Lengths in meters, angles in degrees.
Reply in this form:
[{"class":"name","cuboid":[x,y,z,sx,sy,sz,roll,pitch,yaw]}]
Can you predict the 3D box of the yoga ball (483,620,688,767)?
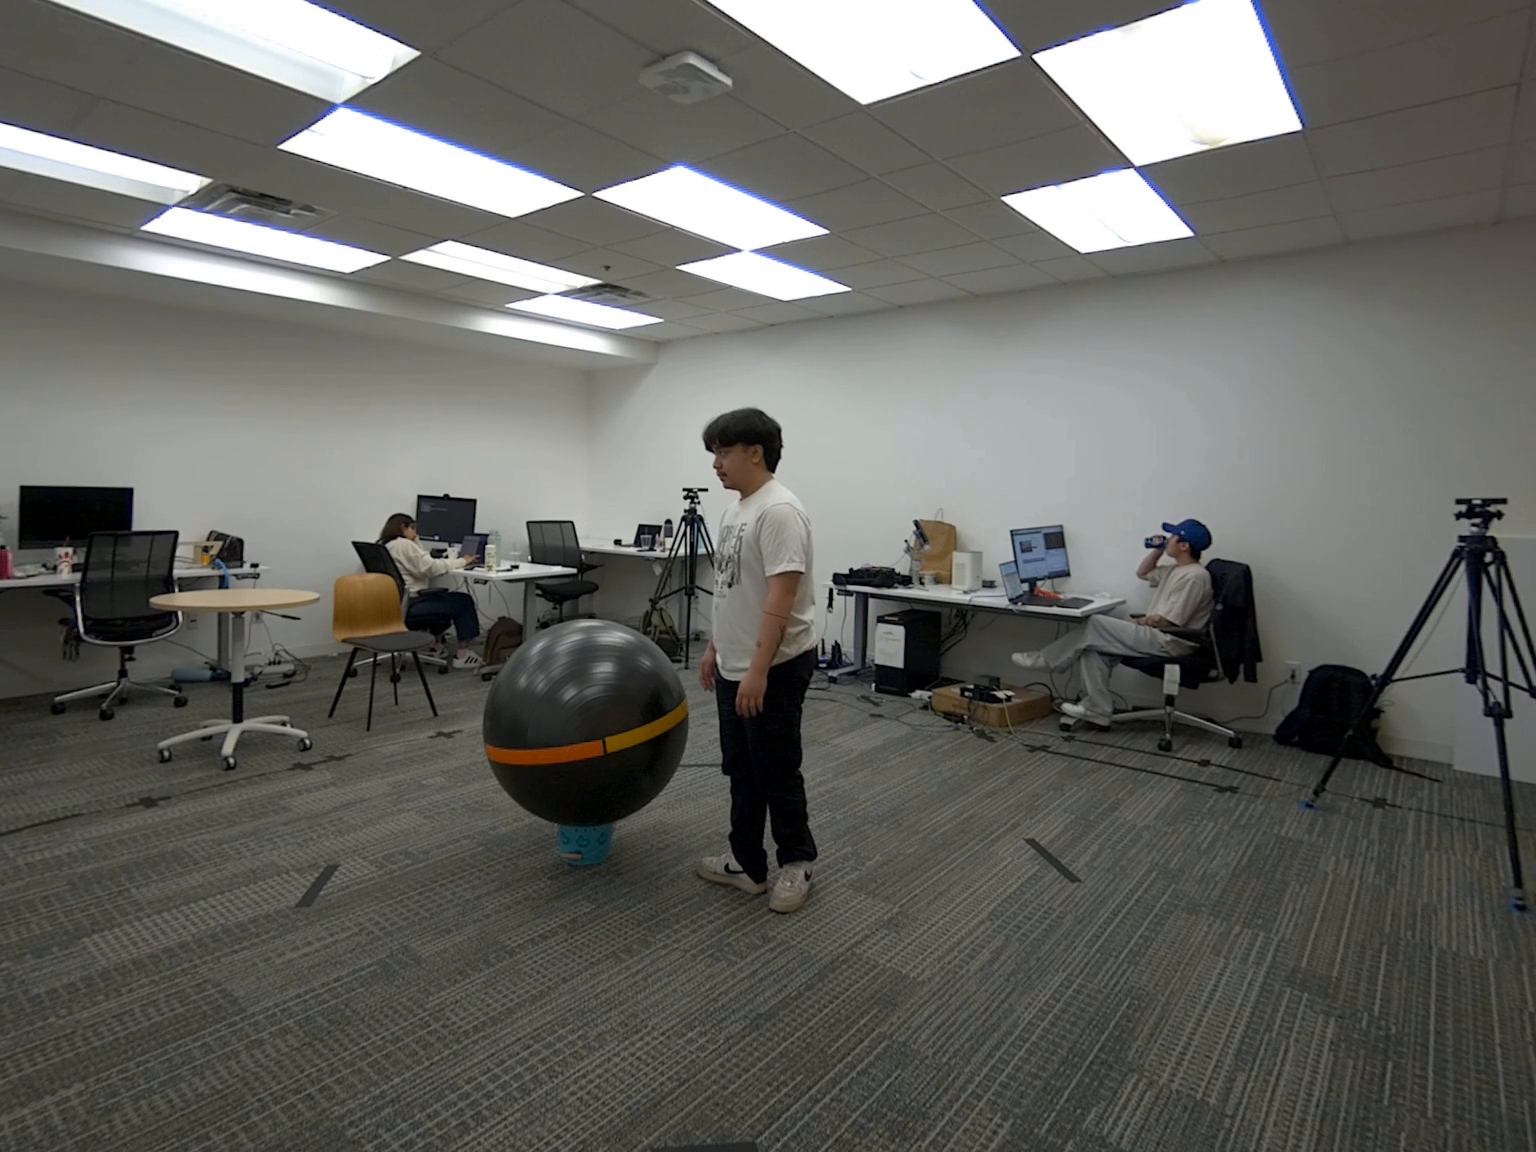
[{"class":"yoga ball","cuboid":[-0.691,0.544,3.193,0.757,0.755,0.762,1,4,-2]}]
